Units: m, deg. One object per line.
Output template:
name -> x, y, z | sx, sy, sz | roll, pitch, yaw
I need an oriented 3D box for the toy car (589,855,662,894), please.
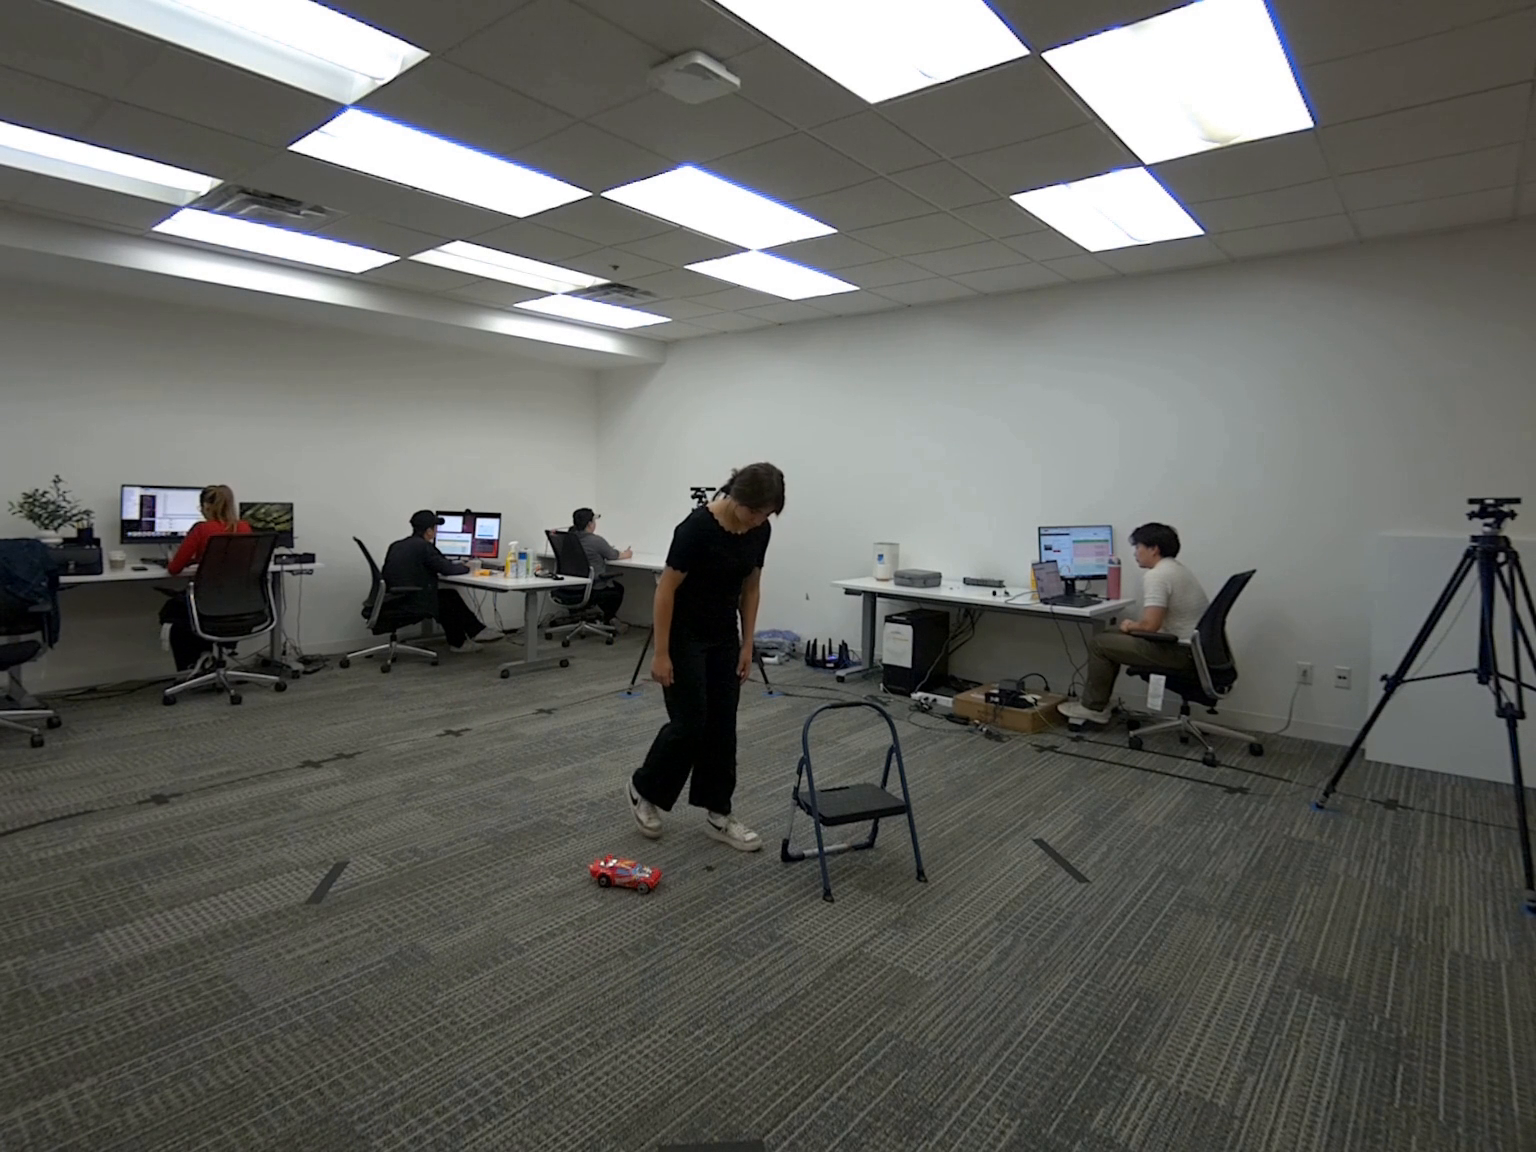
toy car -> -0.521, 1.044, 2.980 | 0.259, 0.082, 0.129 | 12, 10, 13
